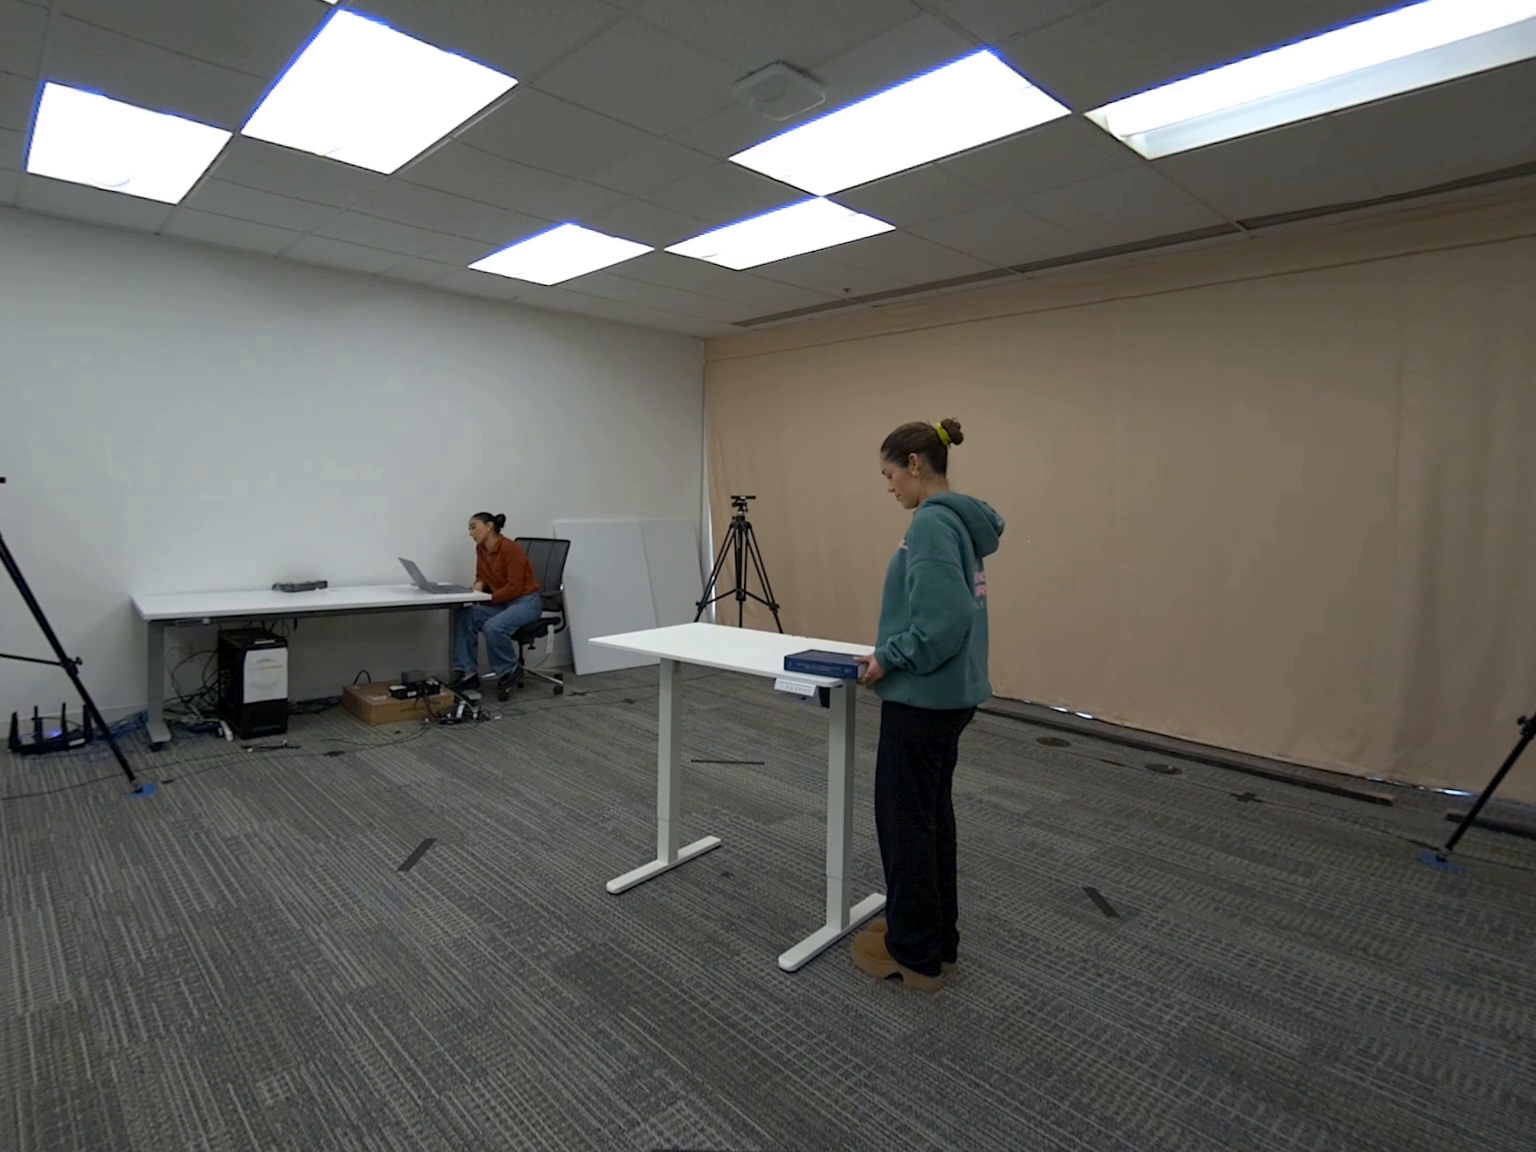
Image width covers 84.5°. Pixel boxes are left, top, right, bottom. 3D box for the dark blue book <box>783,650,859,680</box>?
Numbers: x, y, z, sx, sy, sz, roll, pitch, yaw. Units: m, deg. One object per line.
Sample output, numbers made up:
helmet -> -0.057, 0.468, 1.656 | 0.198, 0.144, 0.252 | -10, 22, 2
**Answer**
dark blue book -> 0.189, 0.261, 2.483 | 0.250, 0.045, 0.160 | 3, 6, 32
